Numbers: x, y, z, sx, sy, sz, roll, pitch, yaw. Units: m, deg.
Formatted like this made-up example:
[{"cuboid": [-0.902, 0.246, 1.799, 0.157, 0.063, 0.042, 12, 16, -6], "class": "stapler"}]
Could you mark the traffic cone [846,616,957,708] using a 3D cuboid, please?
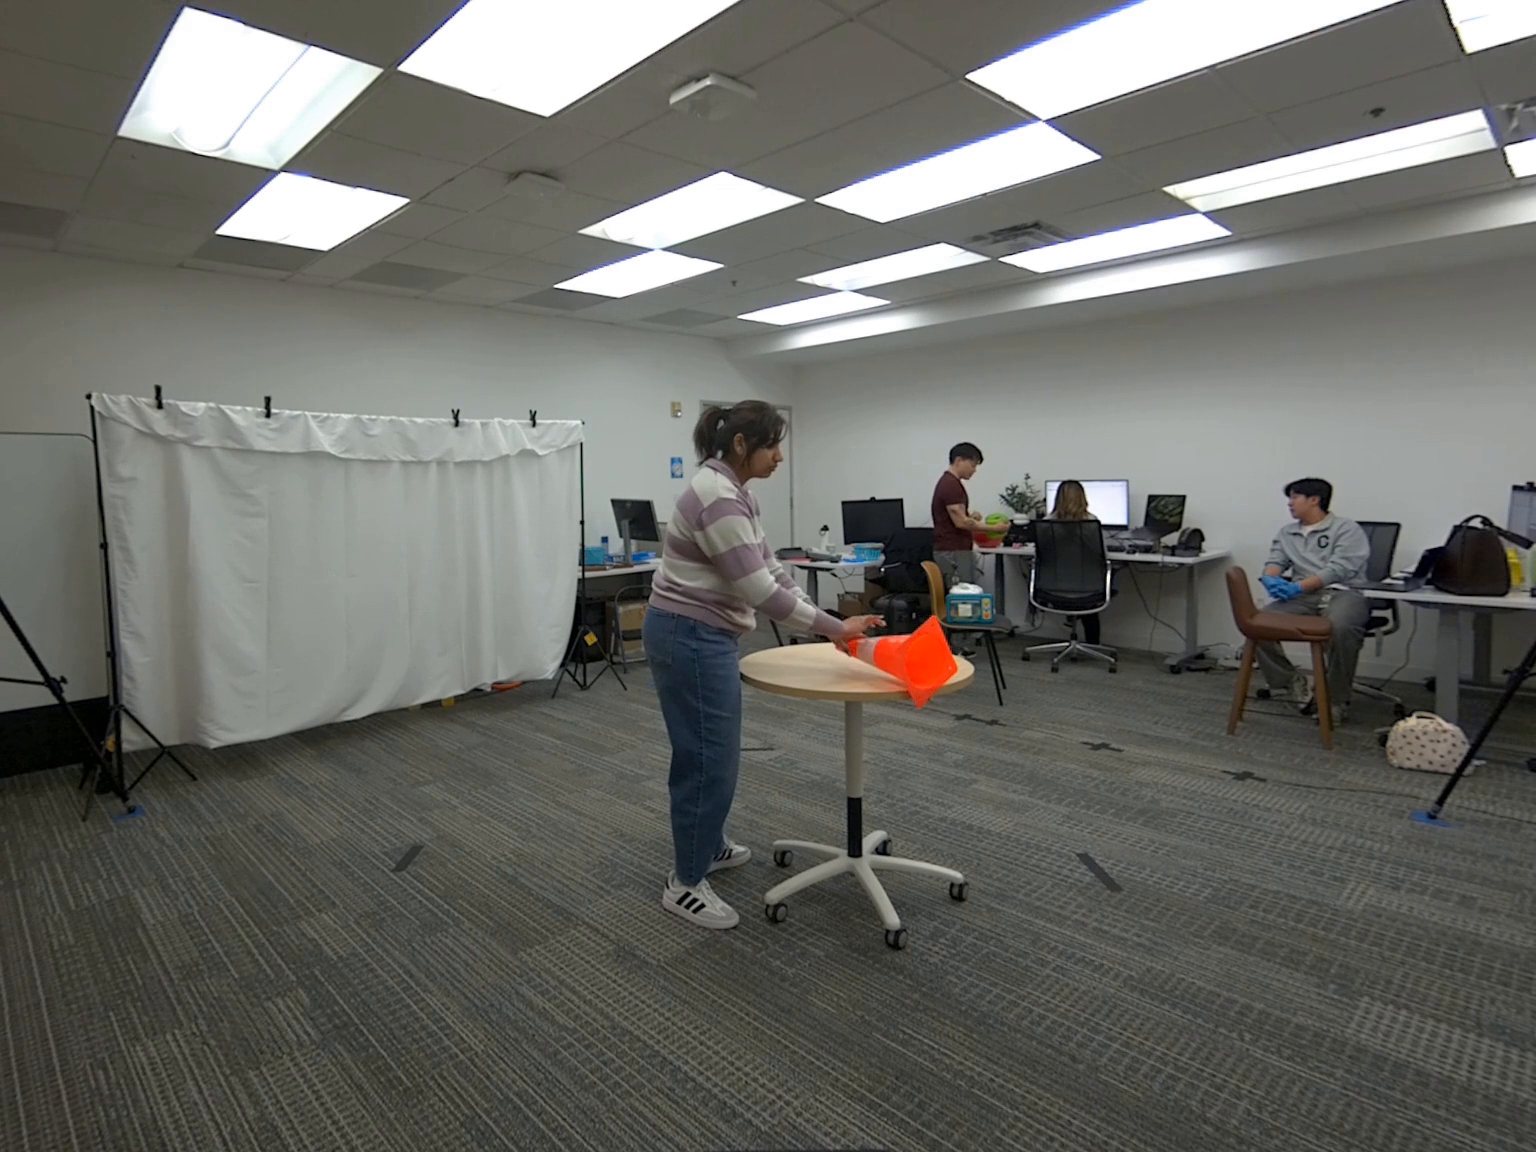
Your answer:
[{"cuboid": [0.344, 0.235, 2.611, 0.202, 0.201, 0.394, -36, 19, -27], "class": "traffic cone"}]
